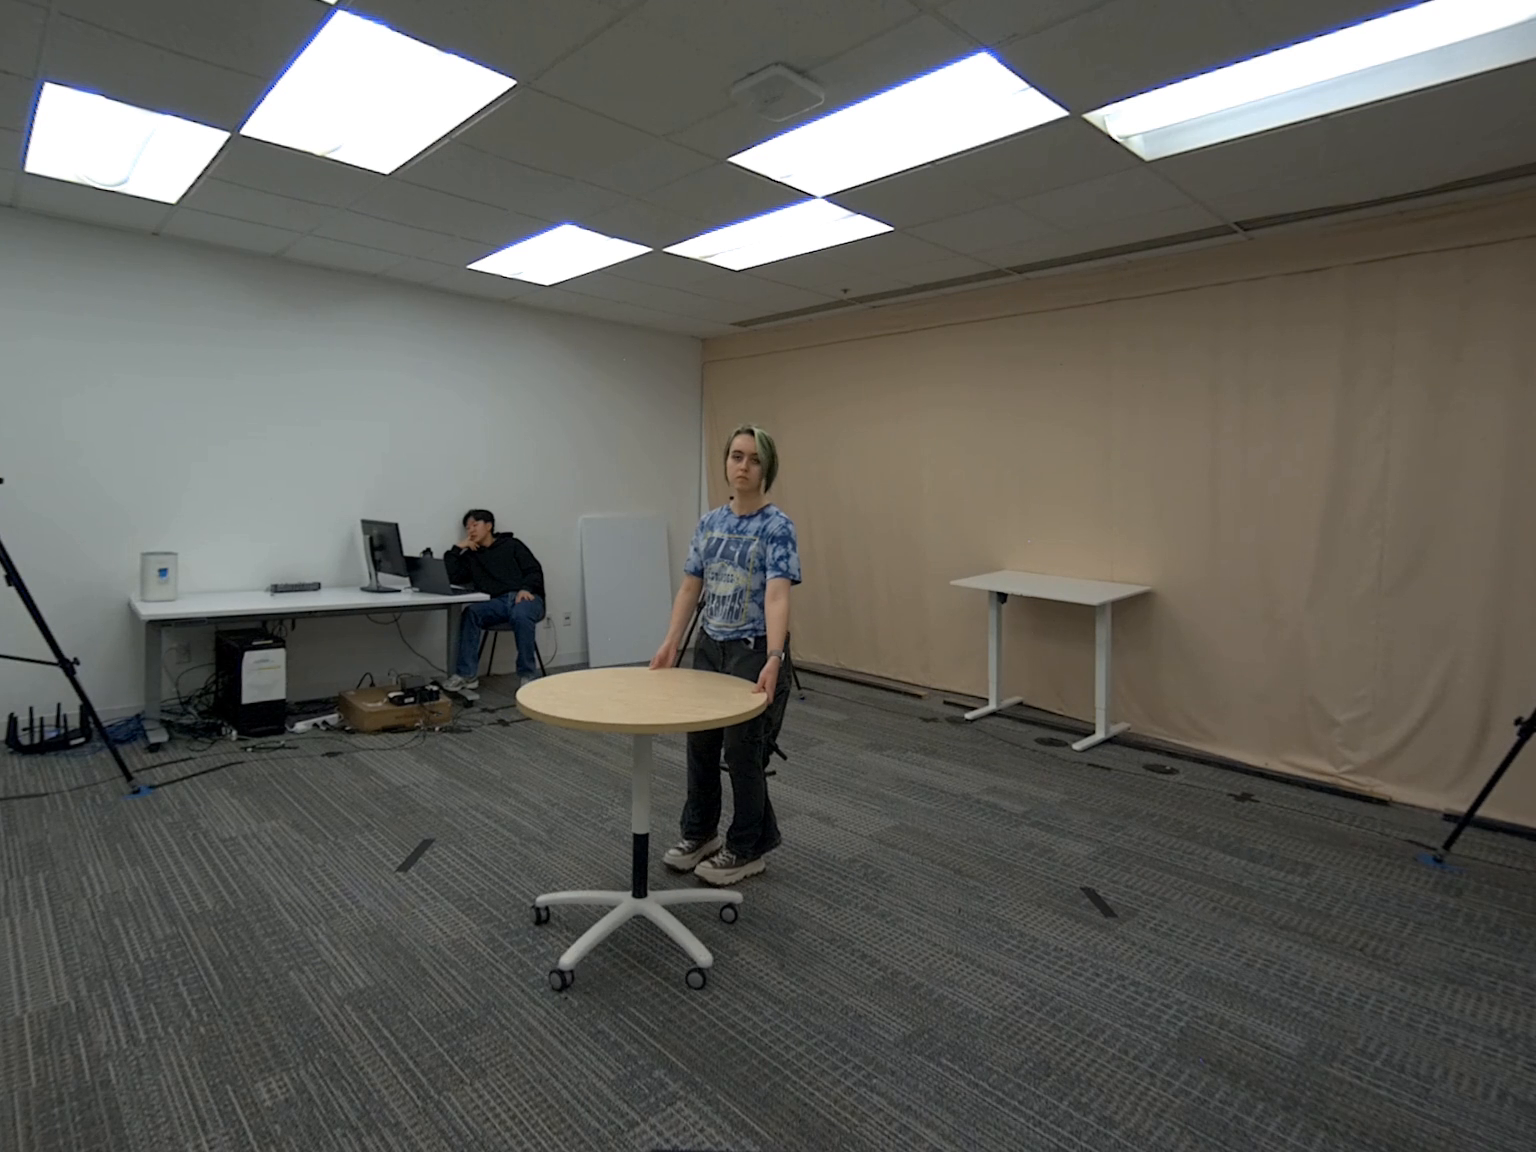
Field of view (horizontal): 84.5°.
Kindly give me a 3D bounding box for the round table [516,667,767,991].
[{"bbox_3d":[-0.404,0.753,2.626,0.763,0.792,0.766,1,4,-1],"label":"round table"}]
